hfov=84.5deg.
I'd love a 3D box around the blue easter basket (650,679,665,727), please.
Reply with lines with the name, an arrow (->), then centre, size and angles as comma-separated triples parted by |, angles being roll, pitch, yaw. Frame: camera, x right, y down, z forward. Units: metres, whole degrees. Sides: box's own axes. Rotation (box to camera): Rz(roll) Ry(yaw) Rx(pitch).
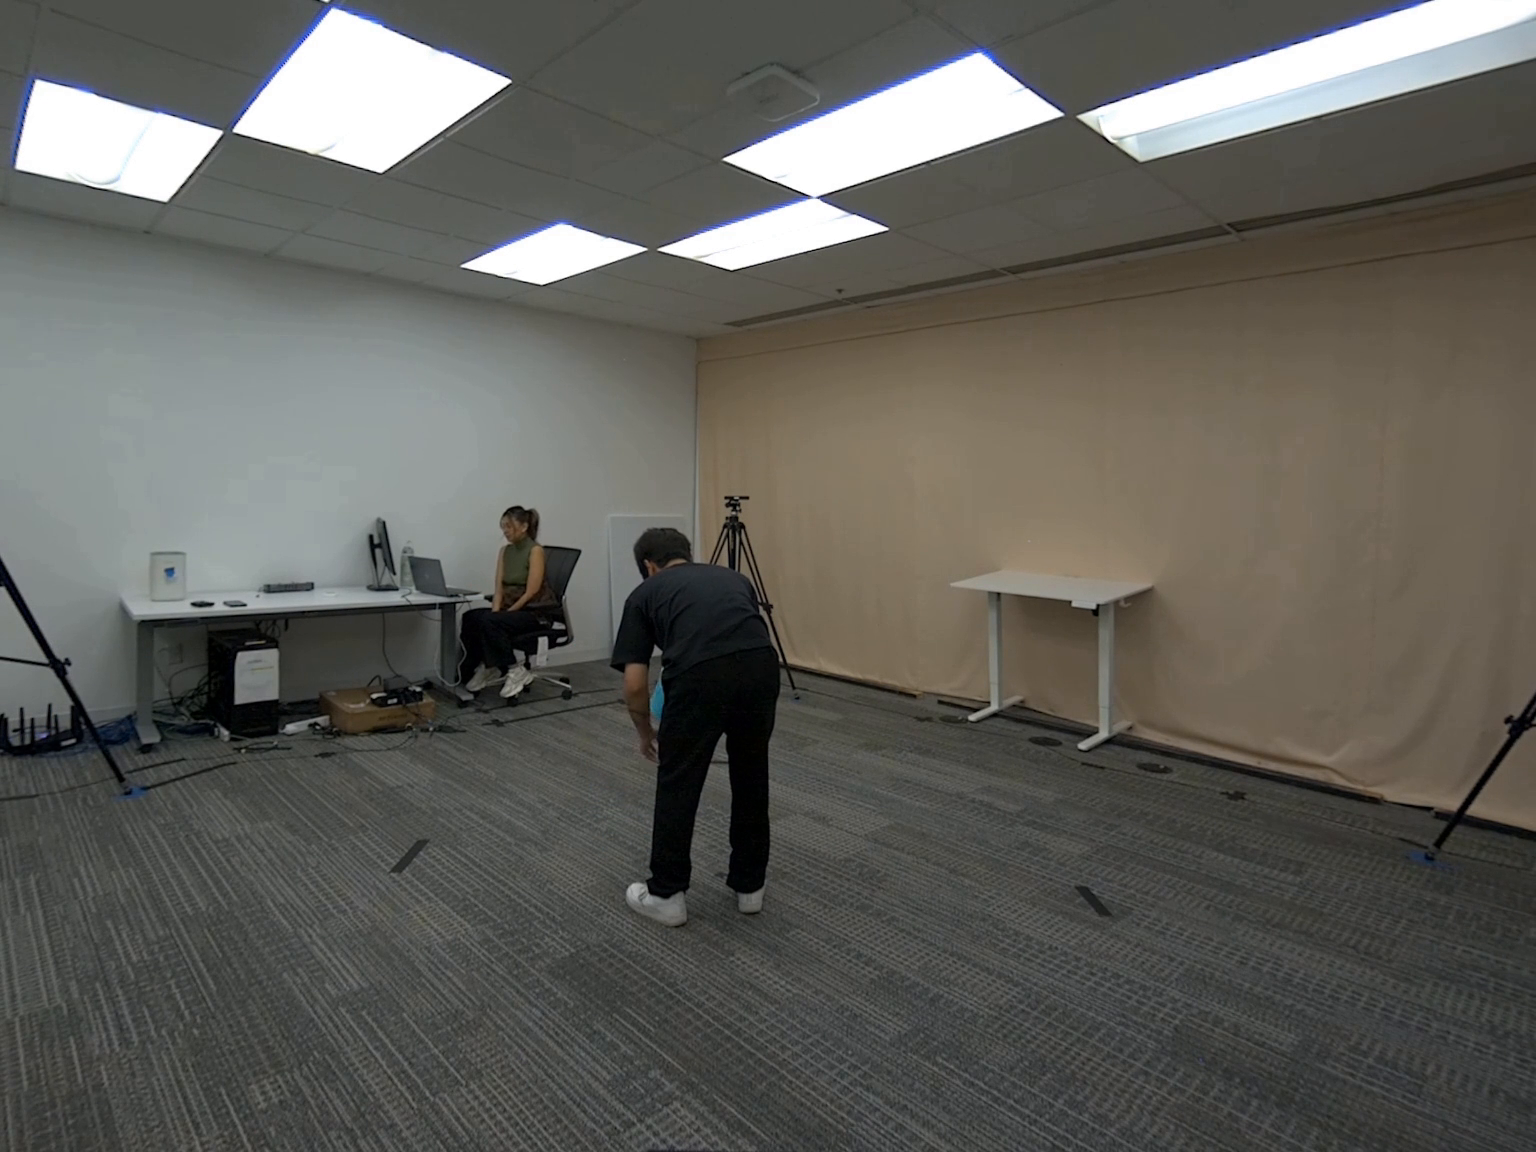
blue easter basket -> -0.329, 0.477, 3.239 | 0.240, 0.155, 0.248 | 26, 24, -14
